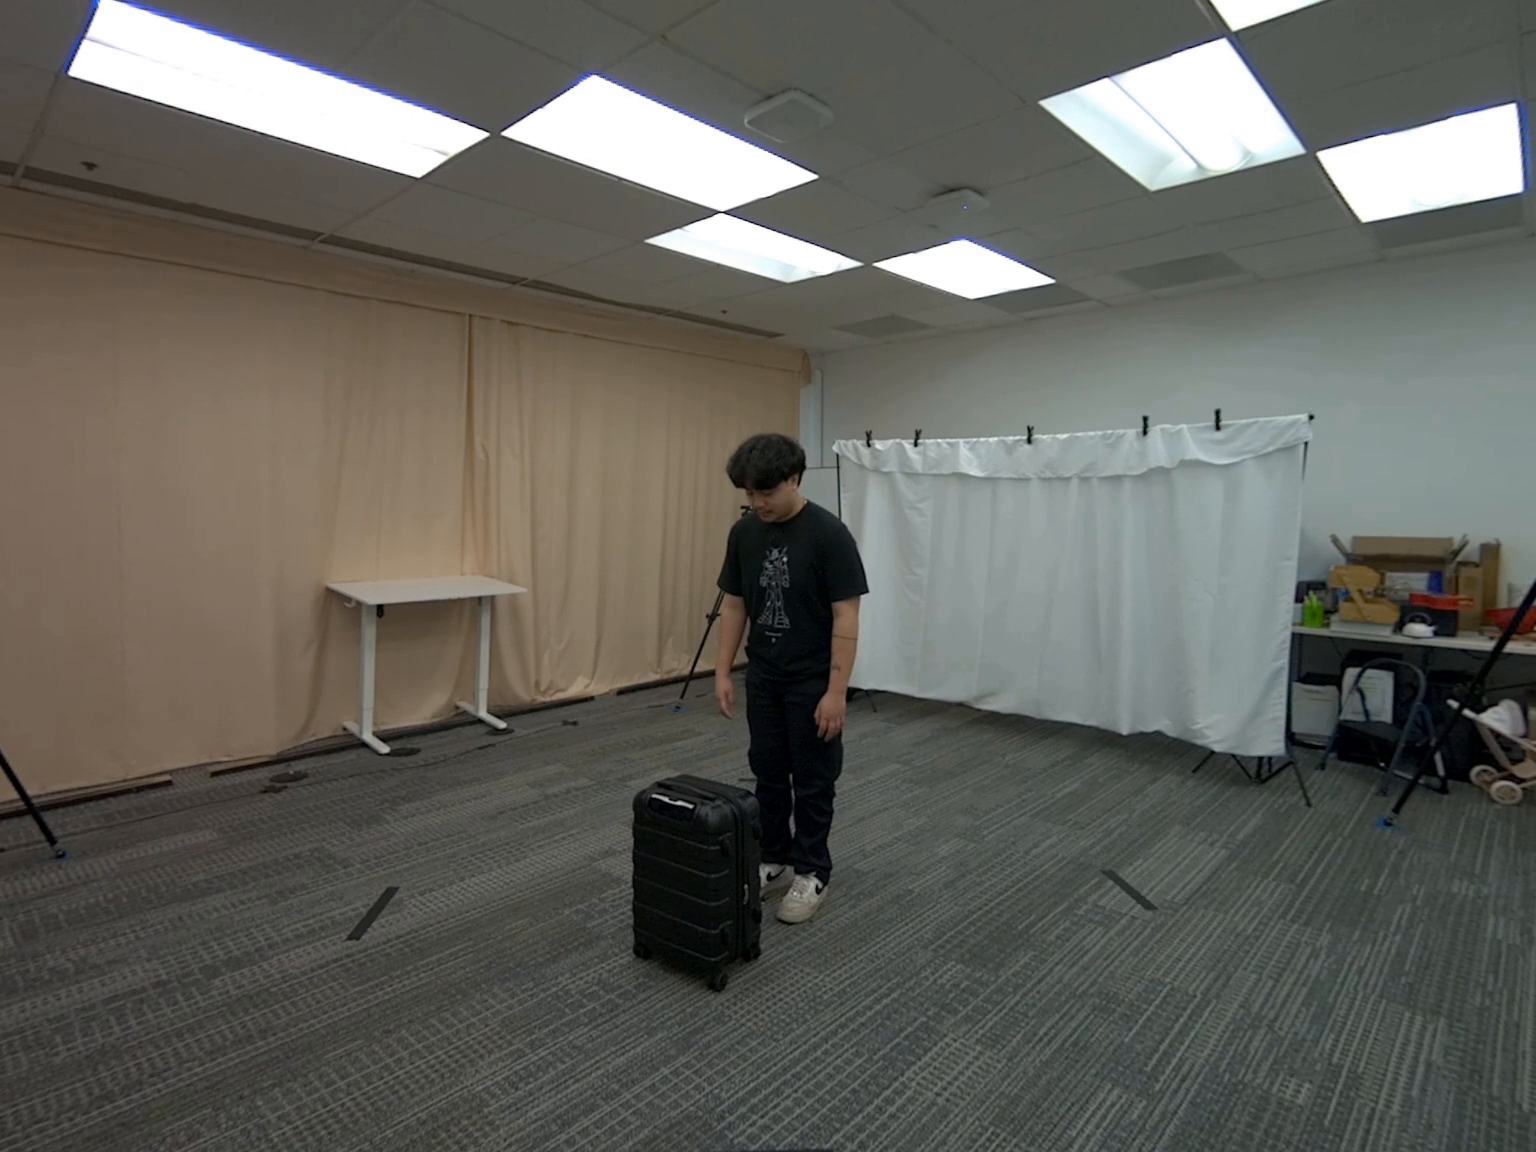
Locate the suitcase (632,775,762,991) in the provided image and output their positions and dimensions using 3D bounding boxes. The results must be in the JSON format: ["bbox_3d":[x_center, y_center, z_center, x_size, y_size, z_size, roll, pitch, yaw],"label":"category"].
[{"bbox_3d":[-0.221,0.907,2.566,0.387,0.548,0.241,2,5,35],"label":"suitcase"}]
